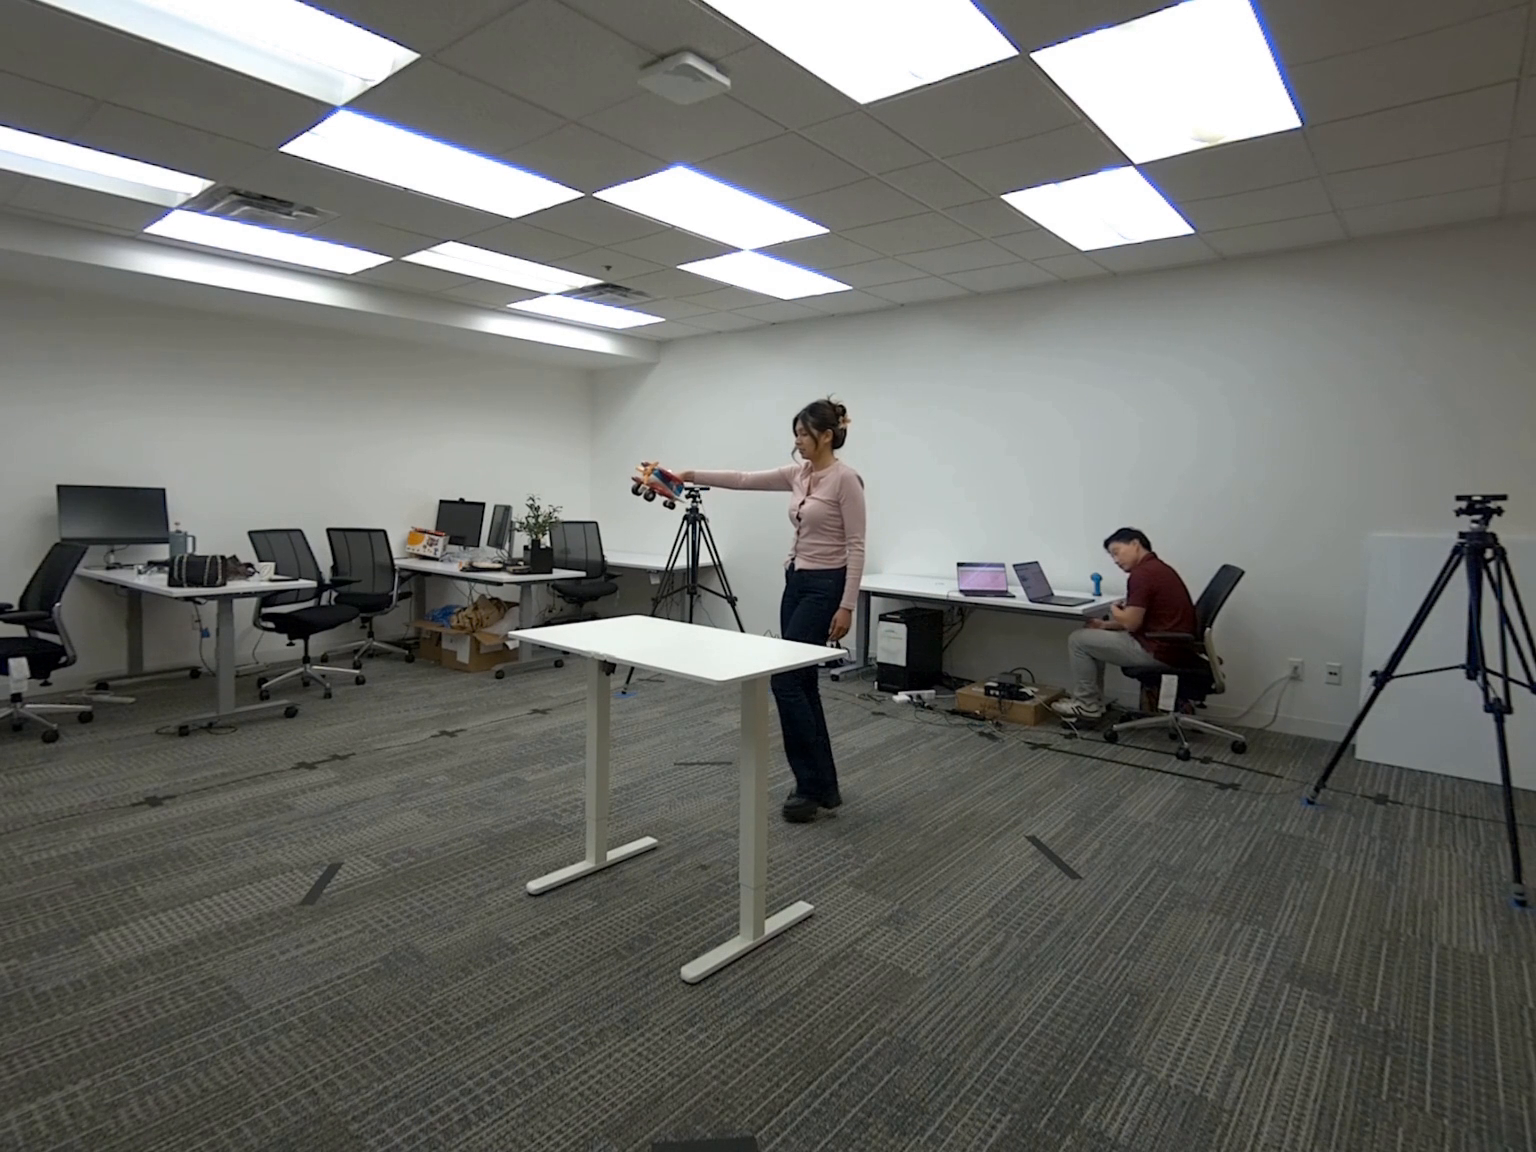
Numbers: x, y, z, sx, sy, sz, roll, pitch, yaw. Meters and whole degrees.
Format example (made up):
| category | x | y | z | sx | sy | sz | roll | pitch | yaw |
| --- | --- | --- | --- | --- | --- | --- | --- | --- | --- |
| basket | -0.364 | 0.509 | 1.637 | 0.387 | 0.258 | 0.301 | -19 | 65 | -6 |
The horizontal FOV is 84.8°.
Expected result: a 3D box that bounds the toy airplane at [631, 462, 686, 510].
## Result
| category | x | y | z | sx | sy | sz | roll | pitch | yaw |
| --- | --- | --- | --- | --- | --- | --- | --- | --- | --- |
| toy airplane | -0.505 | -0.406 | 3.776 | 0.256 | 0.156 | 0.255 | 24 | 3 | 12 |
